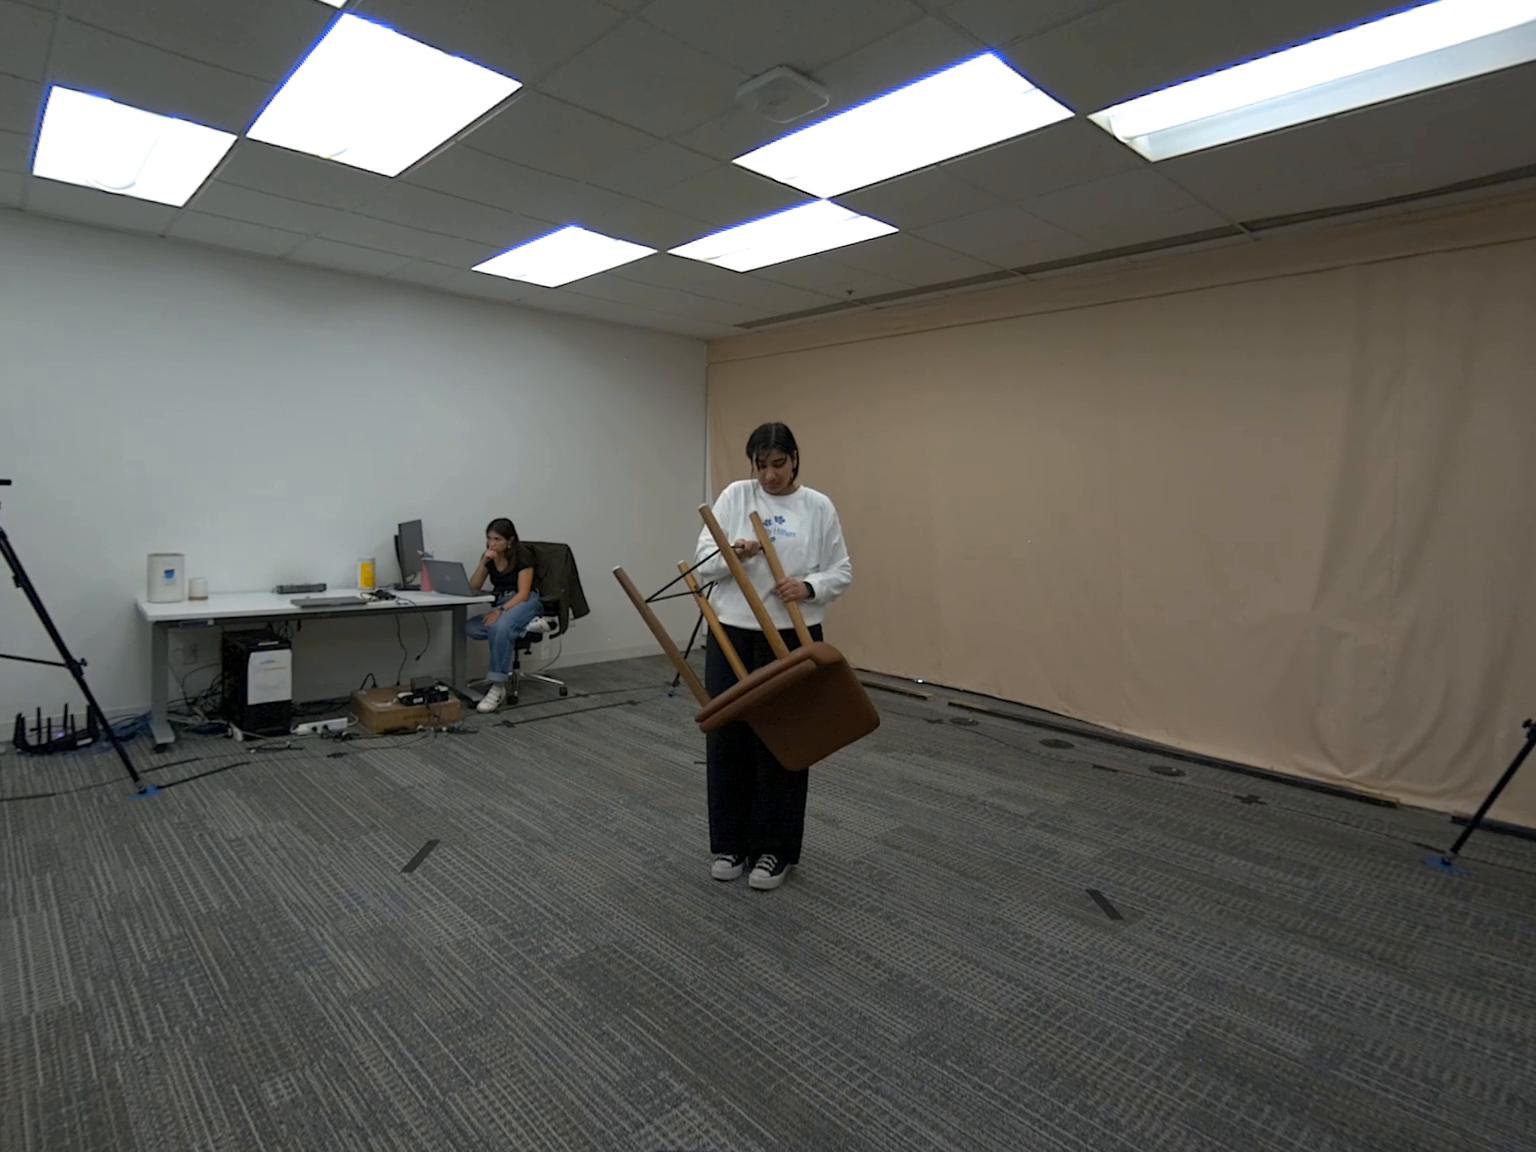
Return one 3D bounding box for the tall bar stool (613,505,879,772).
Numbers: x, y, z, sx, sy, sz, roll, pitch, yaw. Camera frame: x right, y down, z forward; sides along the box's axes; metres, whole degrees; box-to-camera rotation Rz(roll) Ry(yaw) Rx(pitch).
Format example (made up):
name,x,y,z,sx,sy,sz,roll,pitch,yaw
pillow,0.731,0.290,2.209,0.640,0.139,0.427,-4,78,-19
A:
name,x,y,z,sx,sy,sz,roll,pitch,yaw
tall bar stool,-0.058,0.246,2.808,0.458,0.900,0.460,-34,-11,21
